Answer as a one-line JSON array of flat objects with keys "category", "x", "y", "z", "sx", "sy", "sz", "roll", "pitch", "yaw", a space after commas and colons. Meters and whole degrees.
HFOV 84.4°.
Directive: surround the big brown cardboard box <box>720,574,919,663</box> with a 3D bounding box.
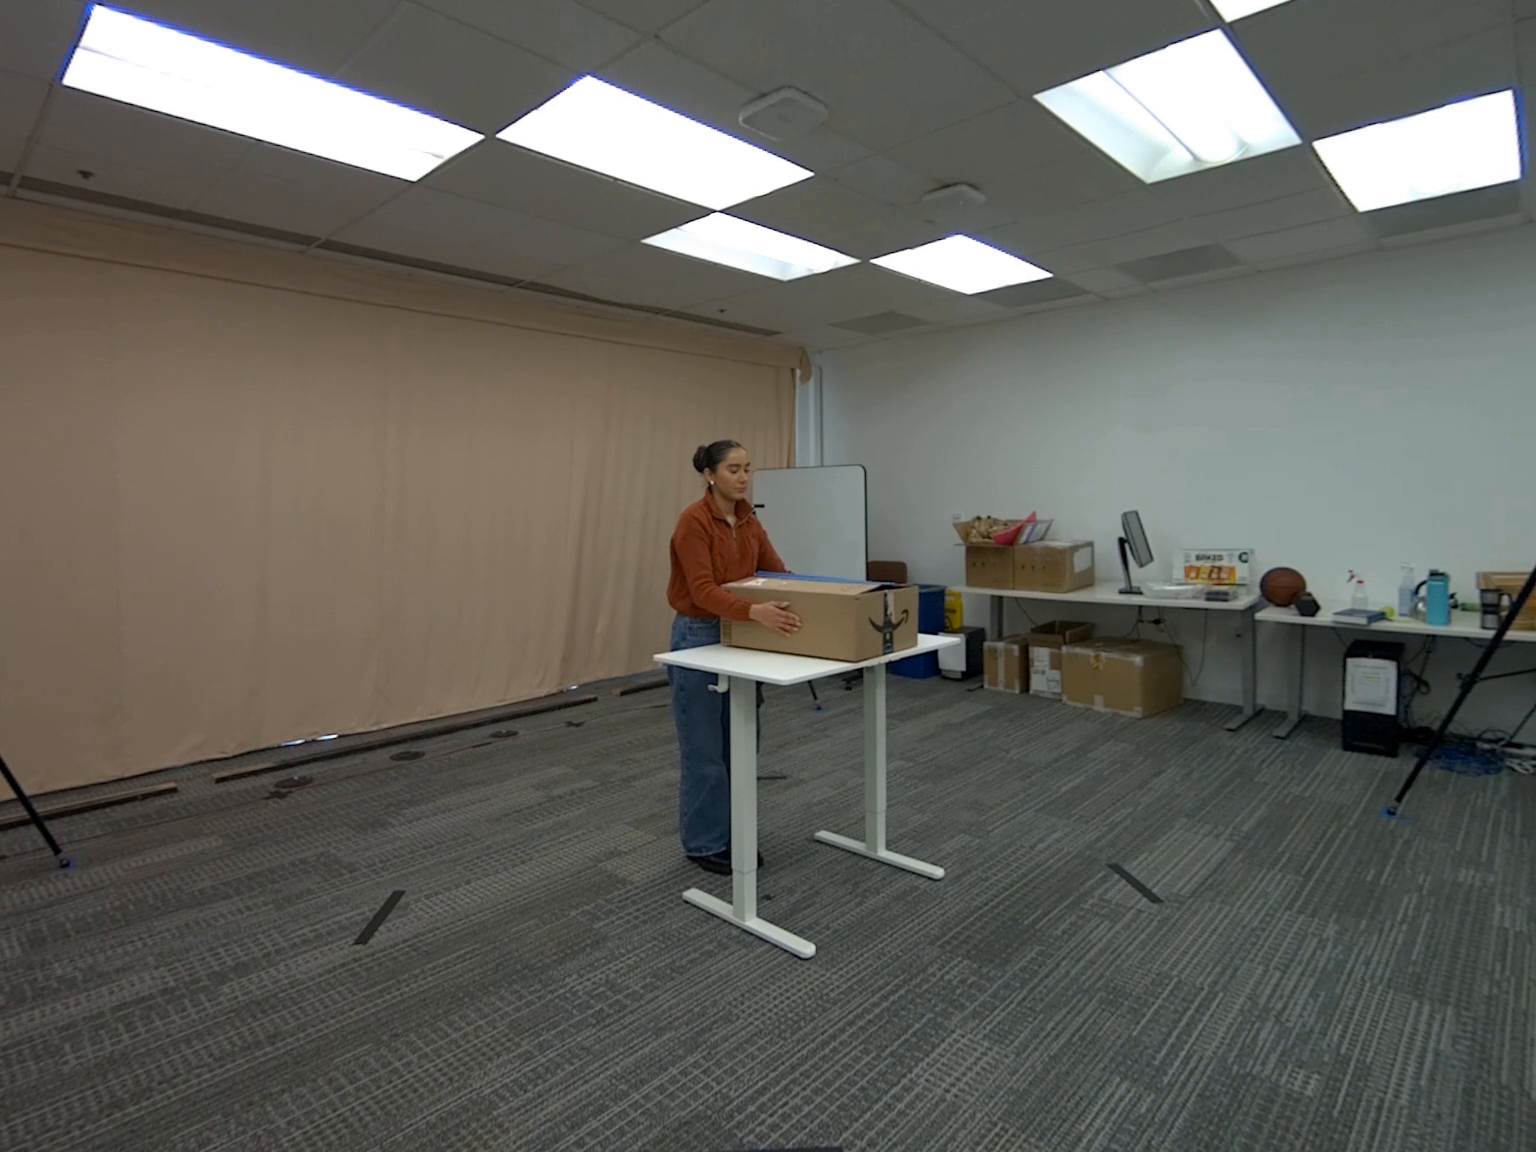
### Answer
[{"category": "big brown cardboard box", "x": 0.178, "y": 0.139, "z": 3.003, "sx": 0.608, "sy": 0.232, "sz": 0.405, "roll": 4, "pitch": 6, "yaw": 39}]
